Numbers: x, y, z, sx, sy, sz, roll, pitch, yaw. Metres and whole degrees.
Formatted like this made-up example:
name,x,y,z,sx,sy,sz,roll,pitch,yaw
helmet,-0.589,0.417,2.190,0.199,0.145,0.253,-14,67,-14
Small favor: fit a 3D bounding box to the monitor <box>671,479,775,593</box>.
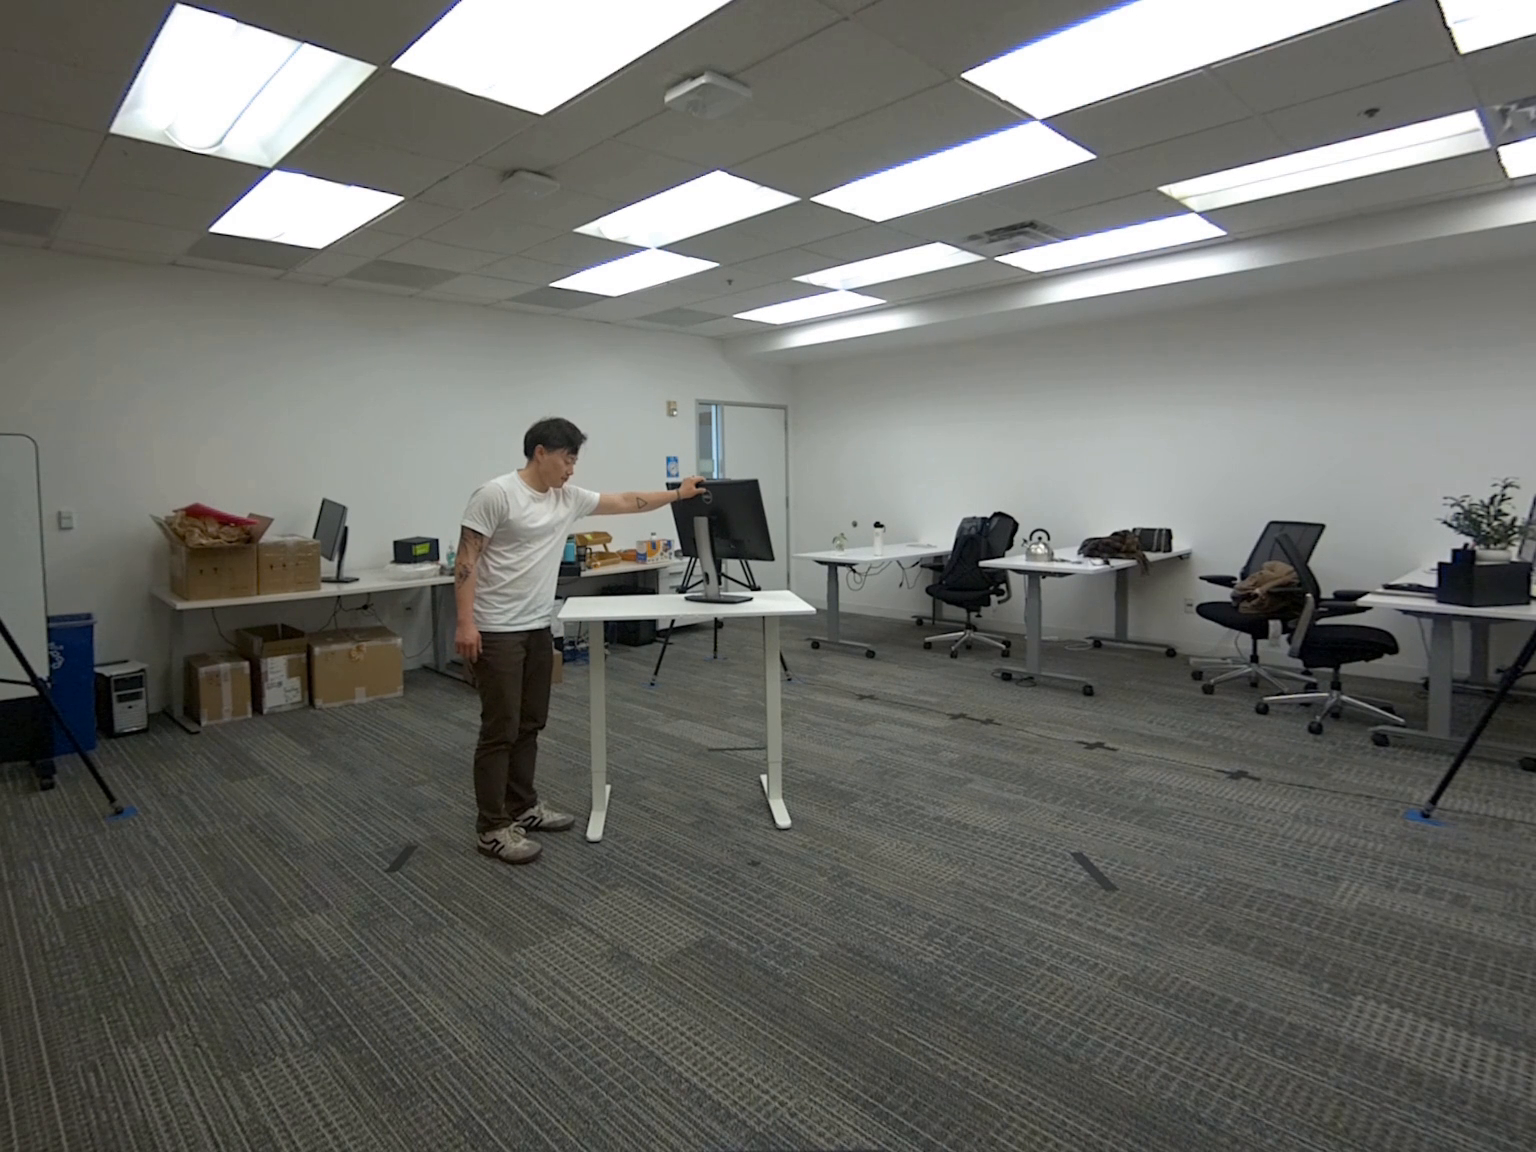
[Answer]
name,x,y,z,sx,sy,sz,roll,pitch,yaw
monitor,-0.230,-0.146,3.647,0.555,0.520,0.182,2,6,40
